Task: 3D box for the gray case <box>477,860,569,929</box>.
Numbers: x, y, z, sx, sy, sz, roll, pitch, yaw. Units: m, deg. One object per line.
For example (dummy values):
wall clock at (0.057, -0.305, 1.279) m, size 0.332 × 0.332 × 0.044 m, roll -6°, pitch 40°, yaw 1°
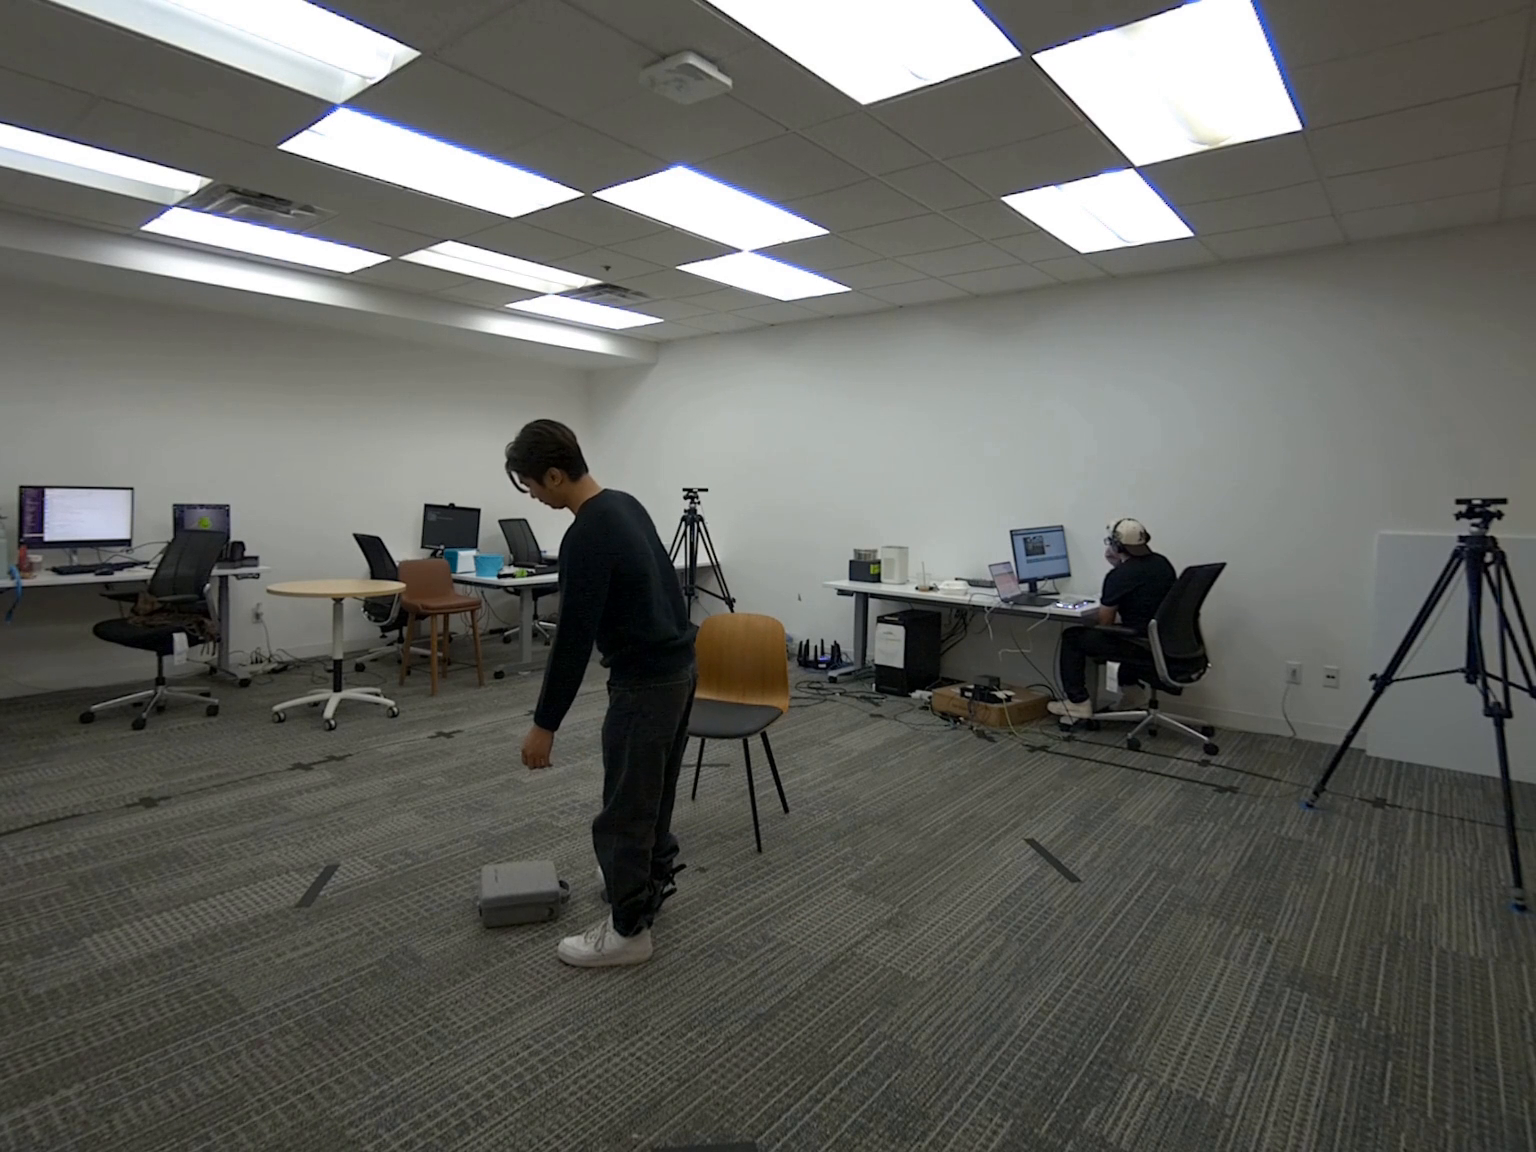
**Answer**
gray case at (-0.826, 1.035, 2.808) m, size 0.256 × 0.104 × 0.262 m, roll -1°, pitch 5°, yaw -18°
